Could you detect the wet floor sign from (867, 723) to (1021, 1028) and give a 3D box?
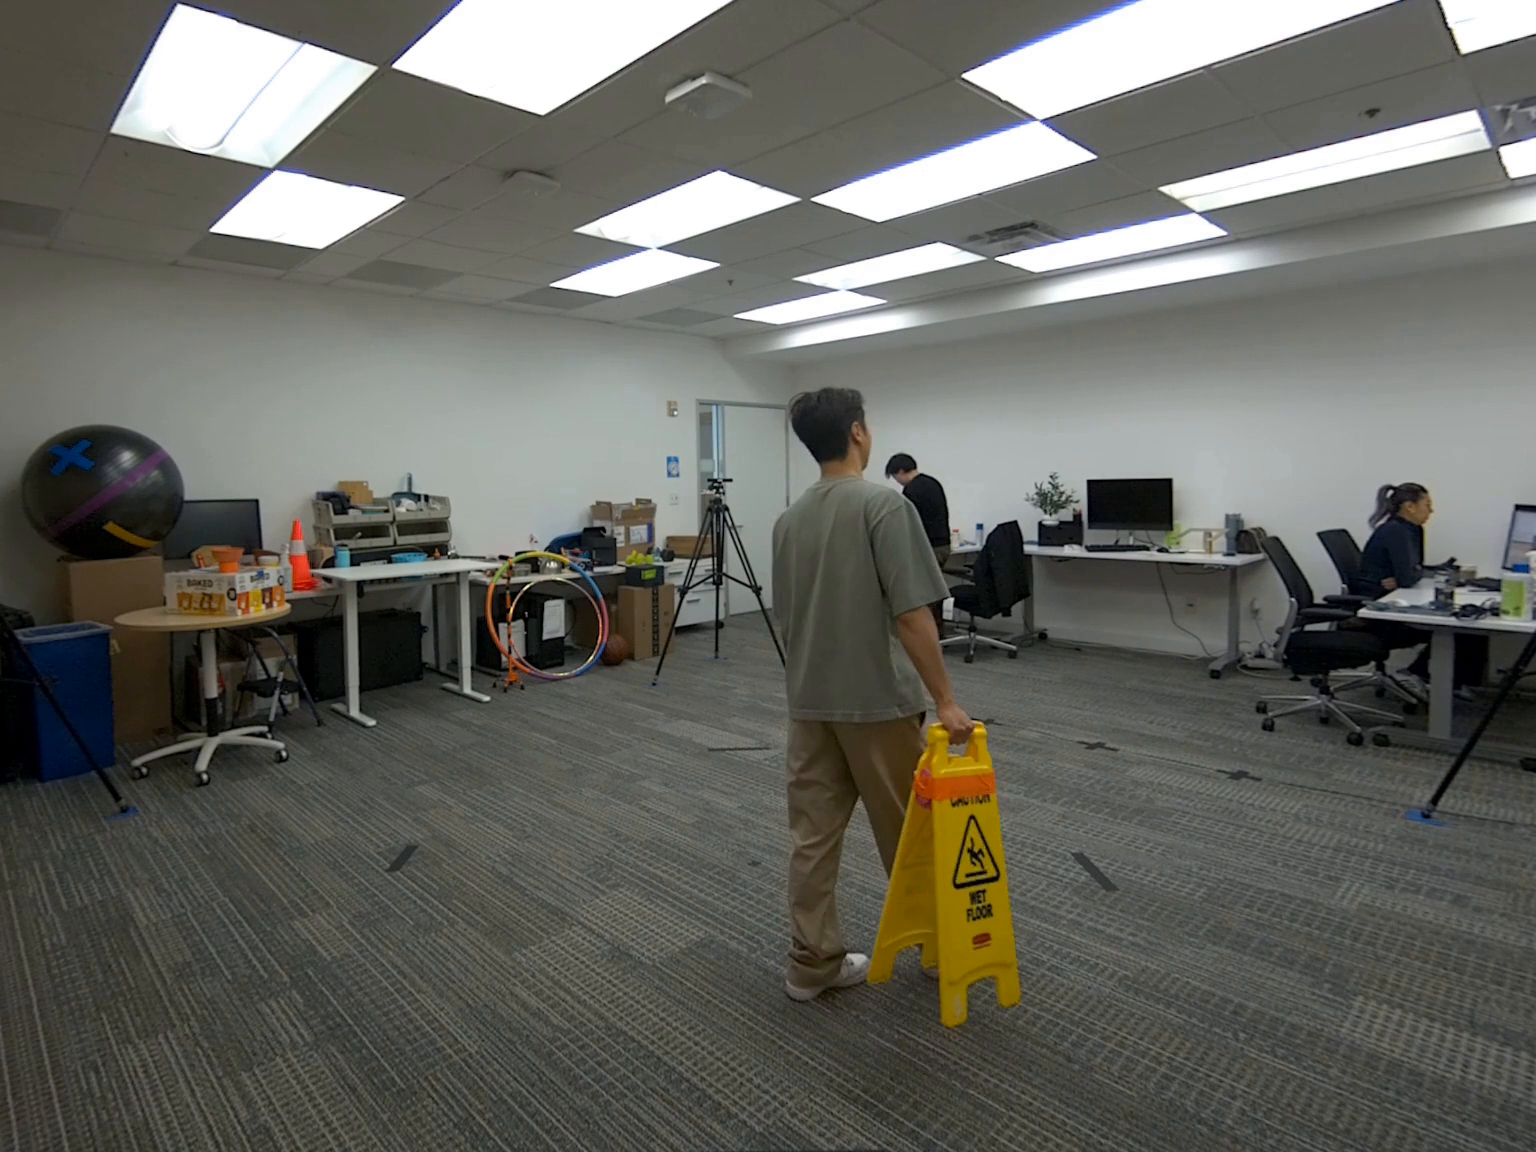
[{"bbox_3d":[0.454,0.689,2.092,0.273,0.649,0.298,9,-6,-38],"label":"wet floor sign"}]
